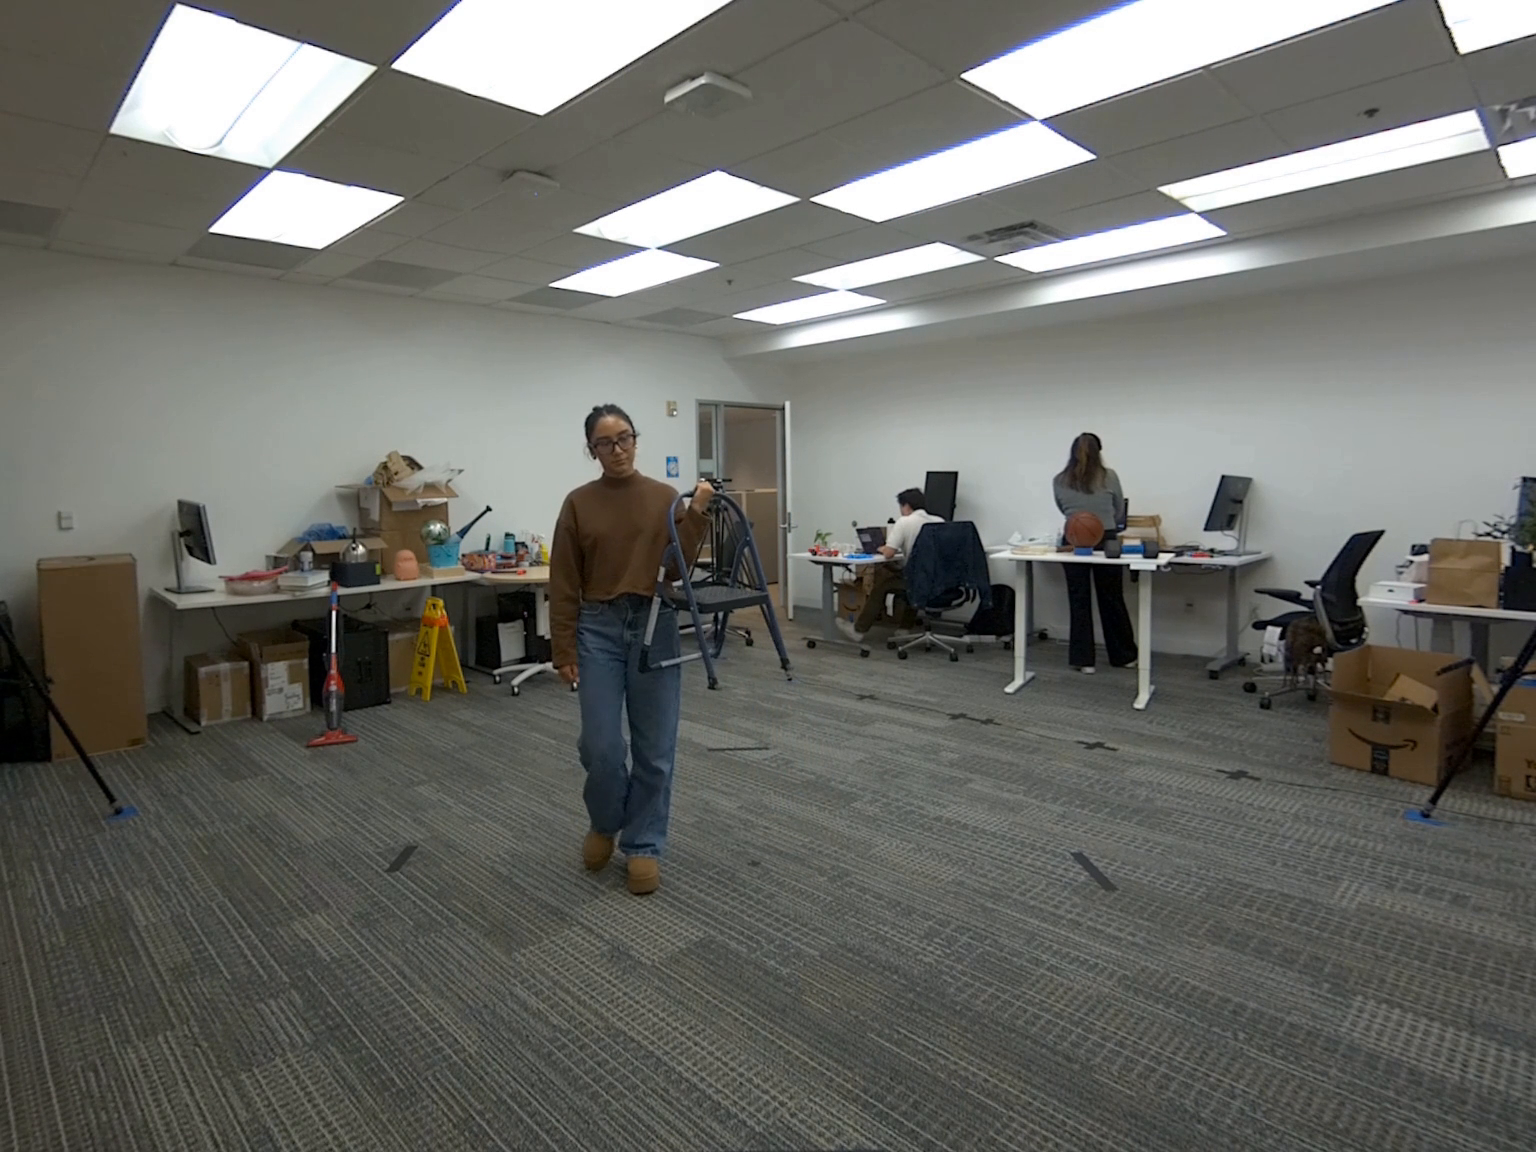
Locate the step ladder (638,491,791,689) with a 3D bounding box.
[{"bbox_3d":[-0.172,0.020,2.873,0.360,0.604,0.419,4,5,37],"label":"step ladder"}]
